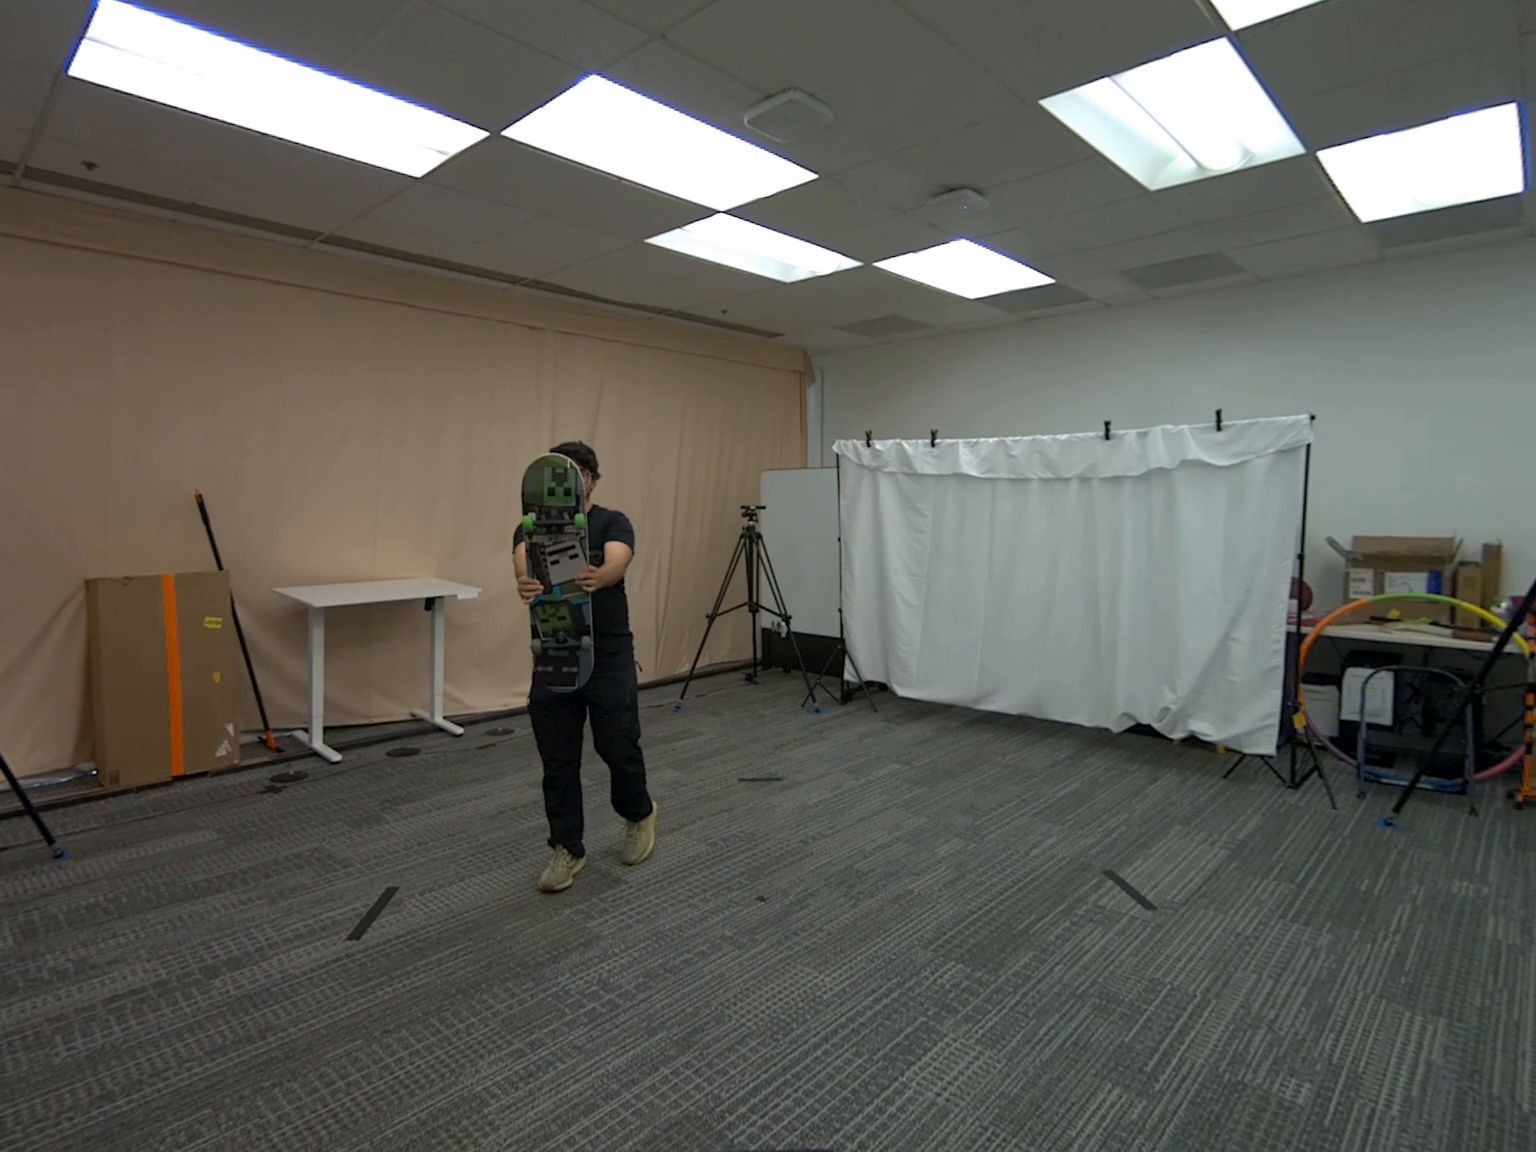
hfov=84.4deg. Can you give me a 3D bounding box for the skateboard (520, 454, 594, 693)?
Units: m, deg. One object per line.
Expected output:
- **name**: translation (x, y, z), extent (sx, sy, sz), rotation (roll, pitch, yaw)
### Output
- **skateboard**: translation (-0.650, 0.020, 2.623), extent (0.192, 0.777, 0.112), rotation (-1, 18, -8)
